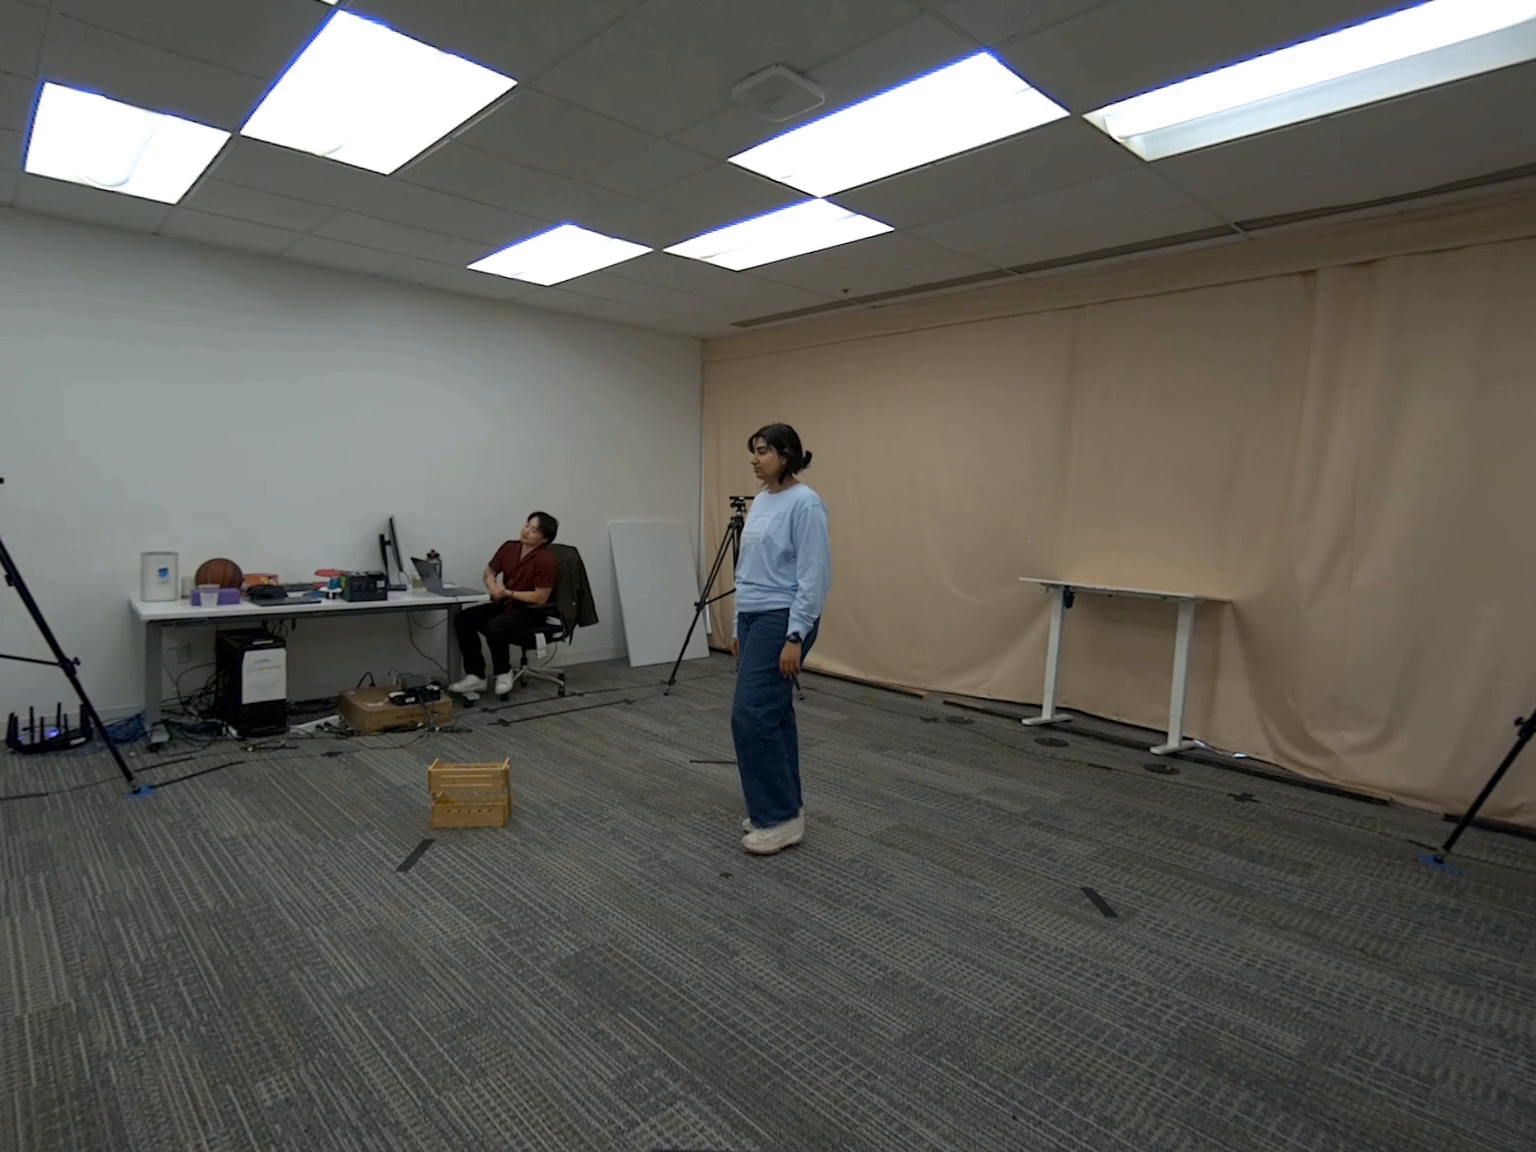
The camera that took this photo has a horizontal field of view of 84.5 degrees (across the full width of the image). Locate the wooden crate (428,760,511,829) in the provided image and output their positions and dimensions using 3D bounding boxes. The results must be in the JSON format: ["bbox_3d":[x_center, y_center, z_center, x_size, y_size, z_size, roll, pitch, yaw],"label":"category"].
[{"bbox_3d":[-1.272,0.903,3.597,0.322,0.272,0.305,1,5,-9],"label":"wooden crate"}]
